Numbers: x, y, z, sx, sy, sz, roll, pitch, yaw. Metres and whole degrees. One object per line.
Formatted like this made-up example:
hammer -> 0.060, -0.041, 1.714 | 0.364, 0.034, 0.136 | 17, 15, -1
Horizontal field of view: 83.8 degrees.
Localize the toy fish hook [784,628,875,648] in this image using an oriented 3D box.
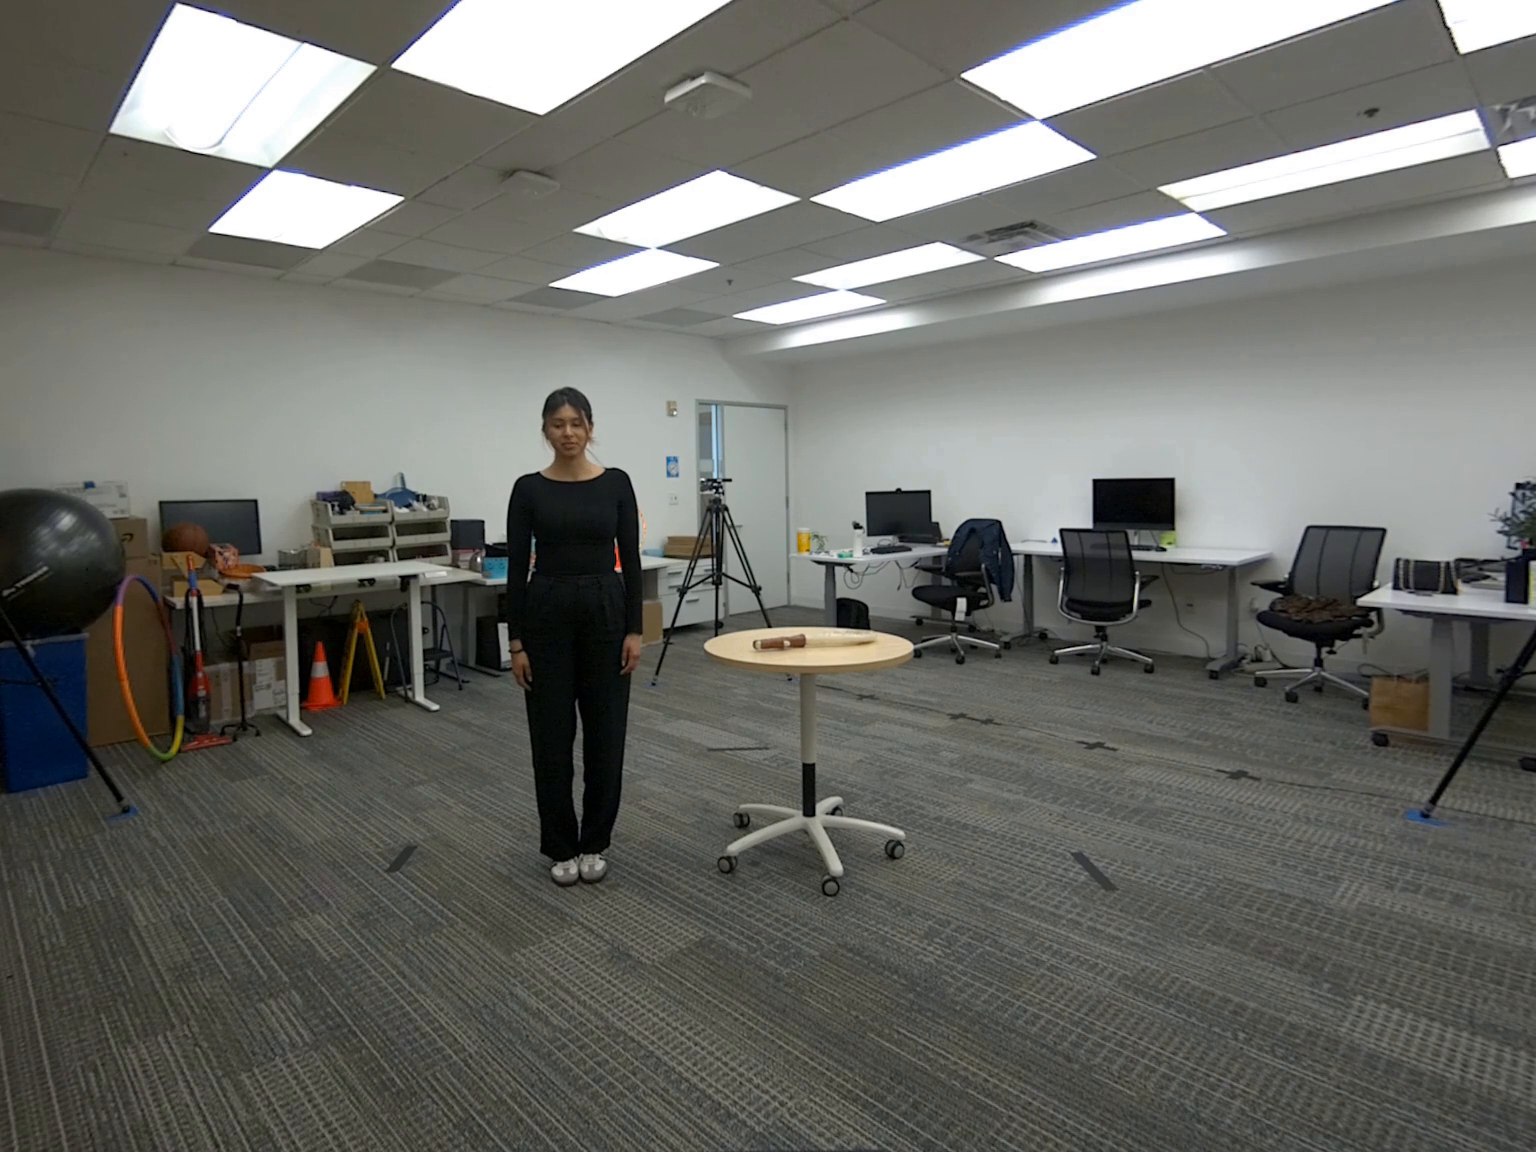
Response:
toy fish hook -> 0.151, 0.237, 3.165 | 0.497, 0.048, 0.229 | -1, 1, -22
